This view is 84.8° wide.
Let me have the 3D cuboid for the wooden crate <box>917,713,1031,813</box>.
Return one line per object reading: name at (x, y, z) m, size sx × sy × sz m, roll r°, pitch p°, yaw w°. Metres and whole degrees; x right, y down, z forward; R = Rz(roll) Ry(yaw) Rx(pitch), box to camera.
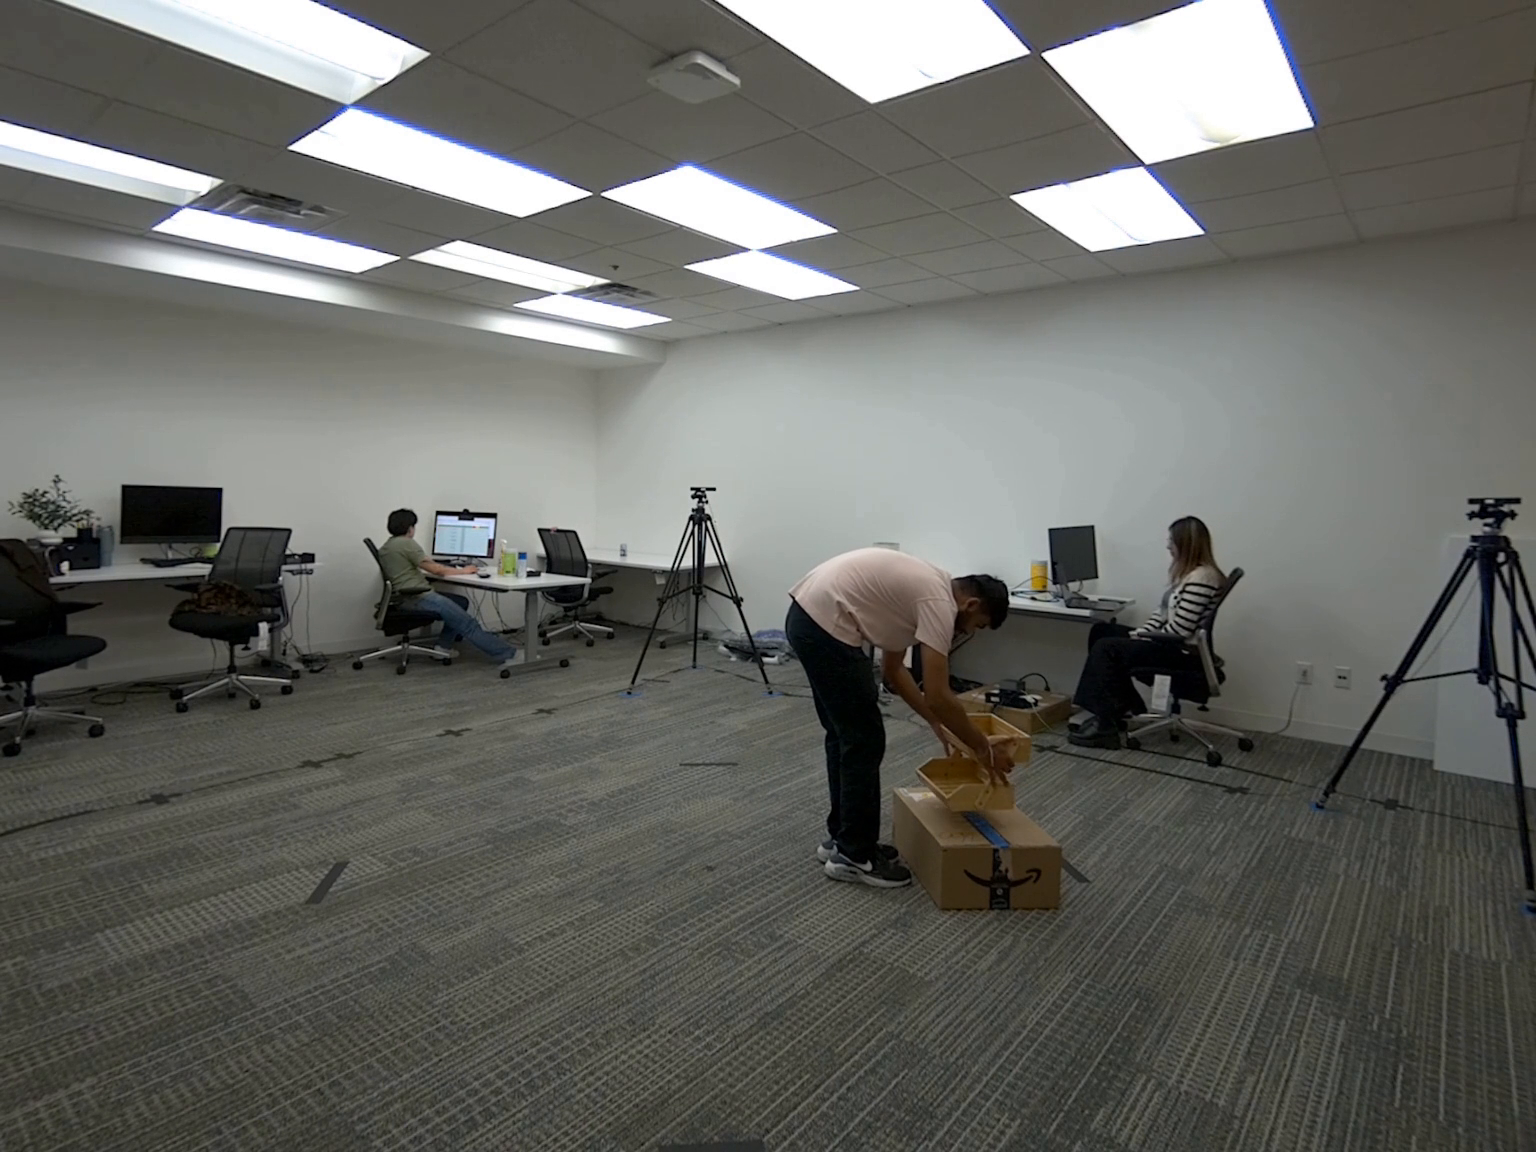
wooden crate at (0.738, 0.668, 3.126) m, size 0.299 × 0.272 × 0.329 m, roll 1°, pitch 5°, yaw -10°
